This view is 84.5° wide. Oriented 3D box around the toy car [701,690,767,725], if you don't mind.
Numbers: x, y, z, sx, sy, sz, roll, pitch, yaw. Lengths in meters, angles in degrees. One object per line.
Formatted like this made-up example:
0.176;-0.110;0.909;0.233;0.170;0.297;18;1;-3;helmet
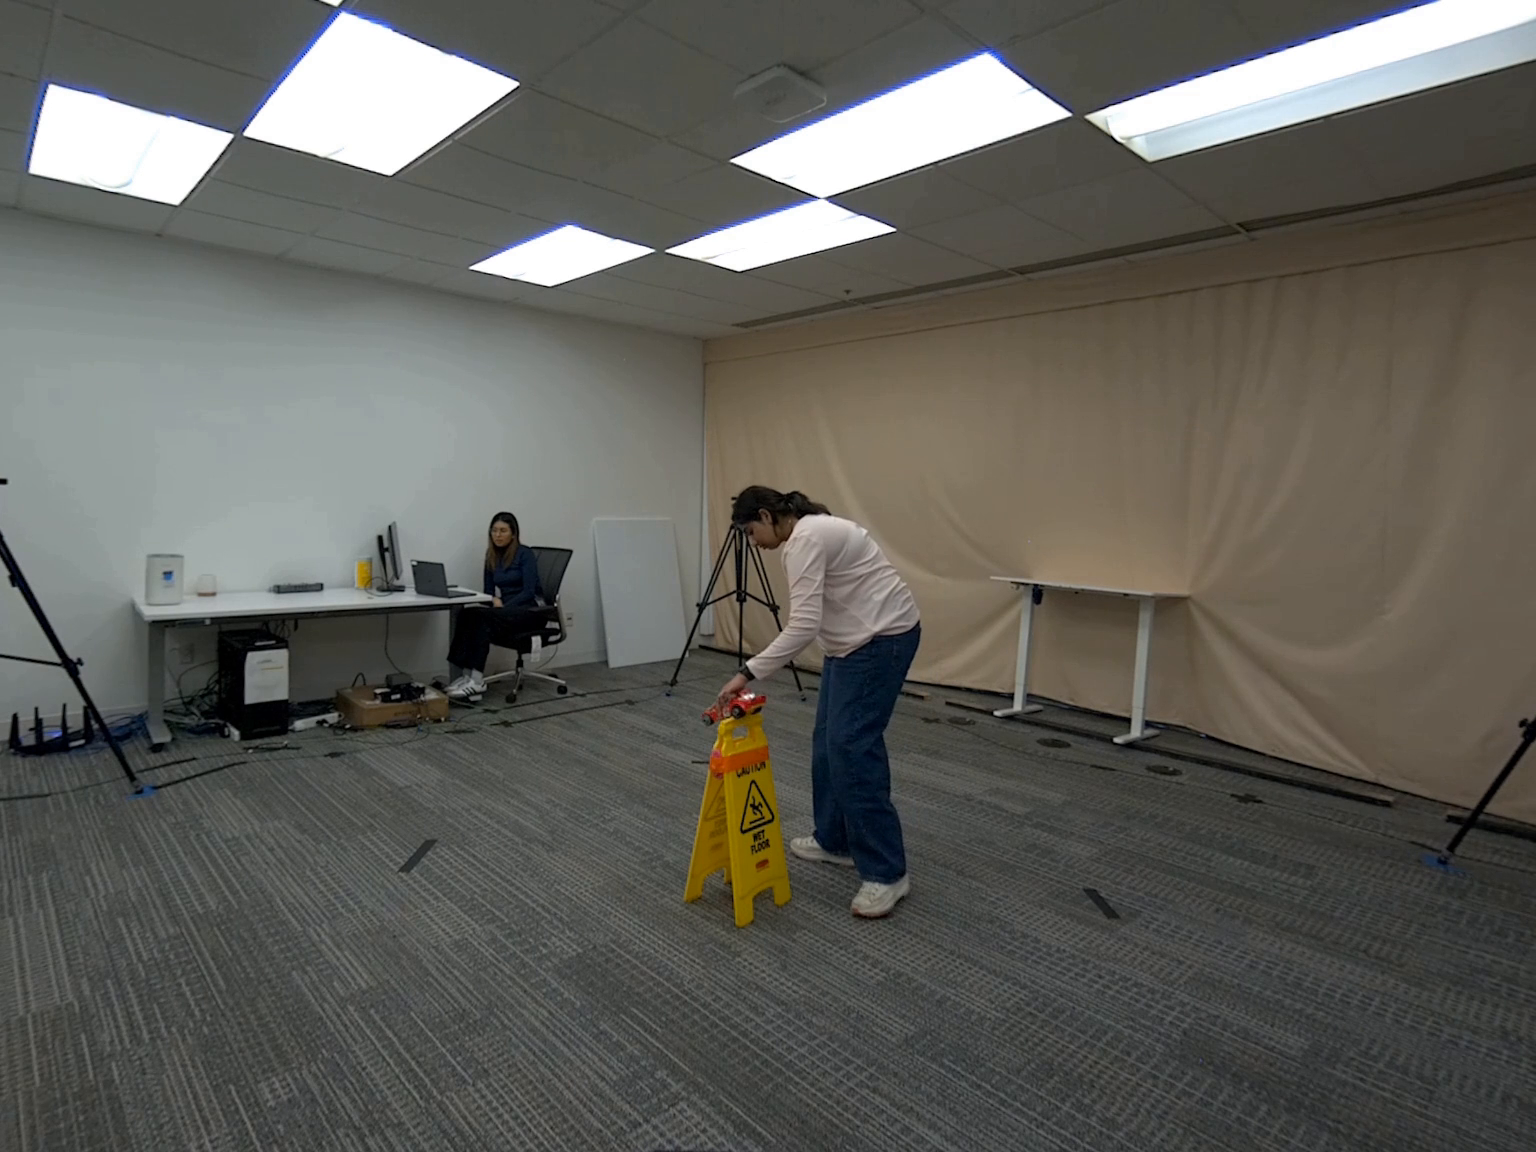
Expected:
-0.111;0.467;2.896;0.256;0.084;0.127;-35;-19;35;toy car
